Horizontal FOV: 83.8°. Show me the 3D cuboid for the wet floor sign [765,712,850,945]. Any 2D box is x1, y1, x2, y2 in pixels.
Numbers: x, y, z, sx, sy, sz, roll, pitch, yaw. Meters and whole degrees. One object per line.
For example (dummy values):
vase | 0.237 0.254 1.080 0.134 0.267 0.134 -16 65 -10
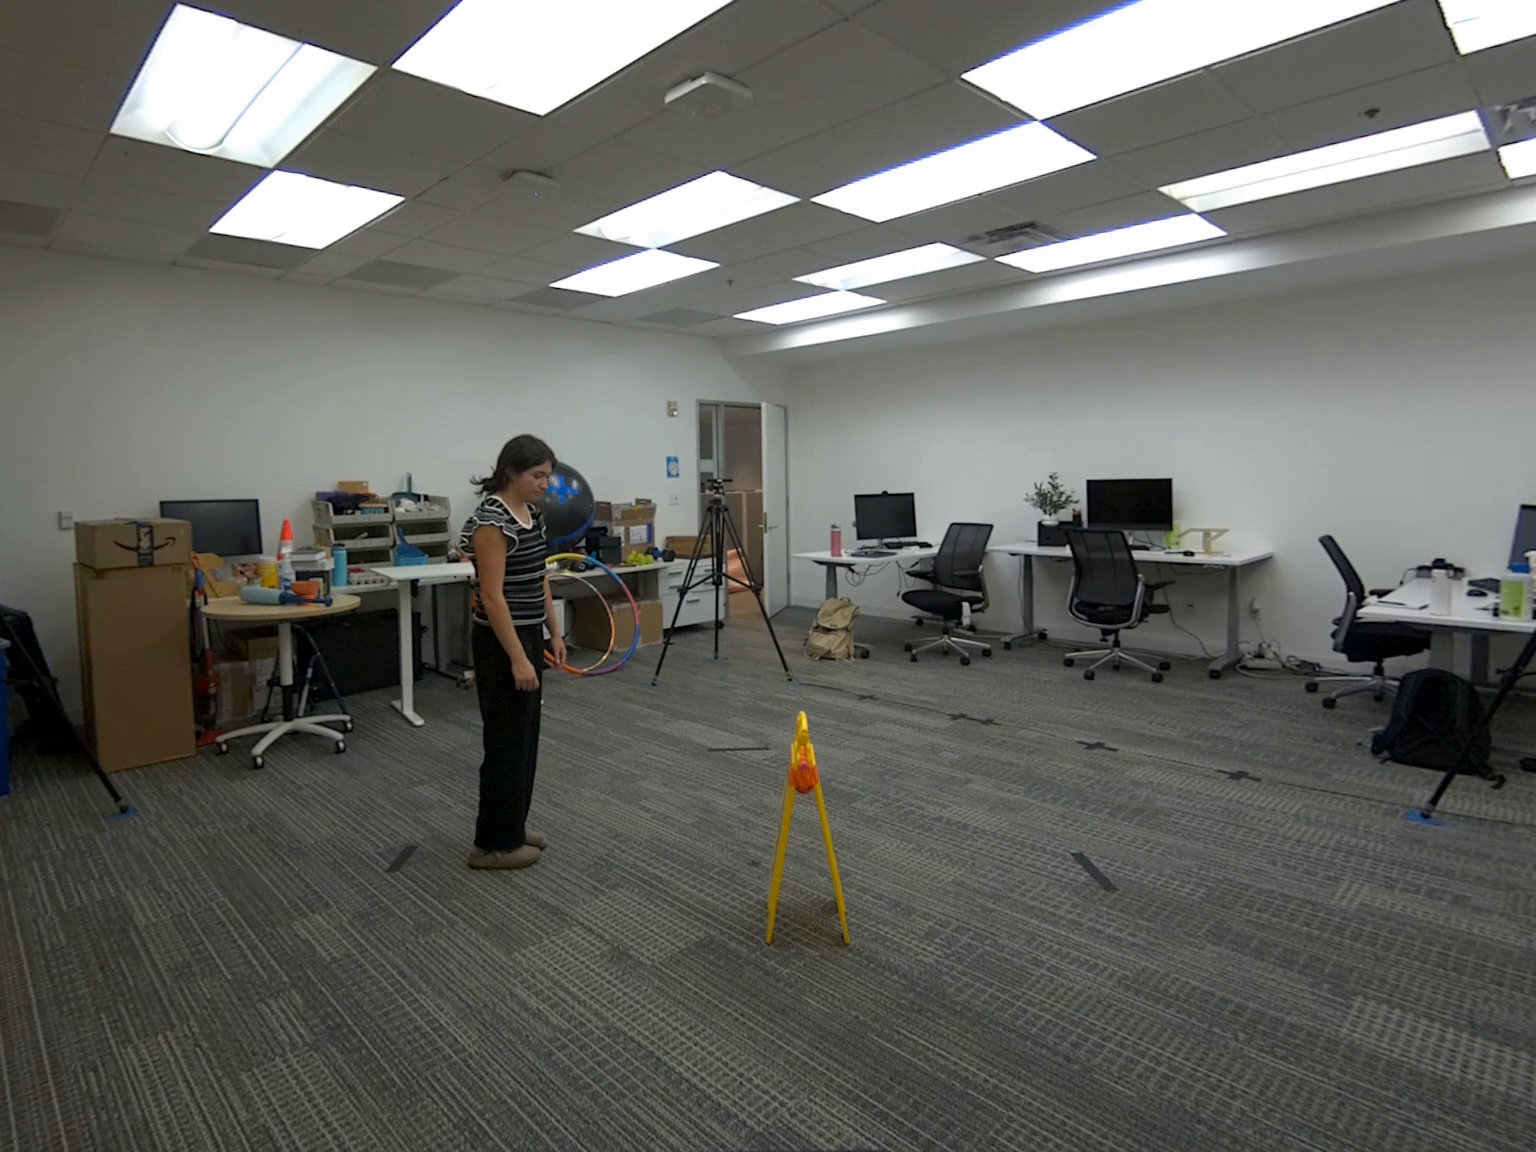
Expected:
wet floor sign | 0.114 0.769 2.671 0.290 0.645 0.282 -2 2 2
